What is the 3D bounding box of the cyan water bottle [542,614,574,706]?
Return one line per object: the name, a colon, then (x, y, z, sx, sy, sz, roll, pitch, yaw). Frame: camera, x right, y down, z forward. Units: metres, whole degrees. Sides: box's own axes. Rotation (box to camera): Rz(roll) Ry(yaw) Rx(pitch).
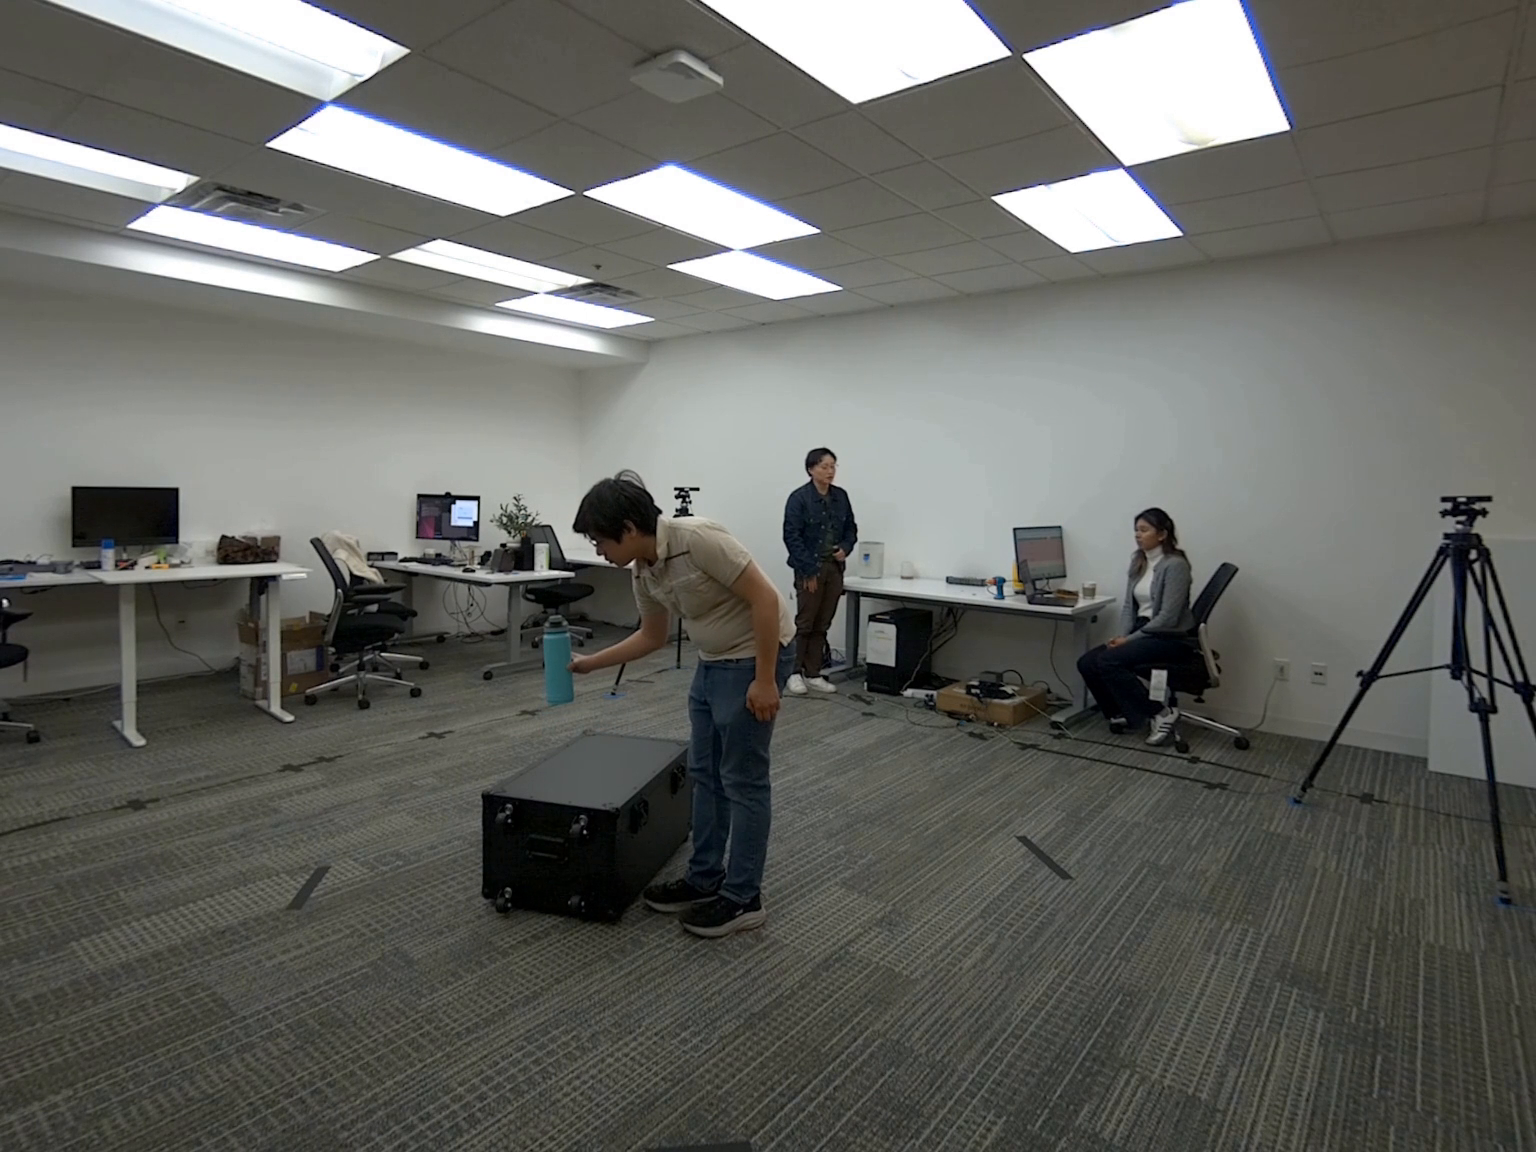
cyan water bottle: (-0.702, 0.273, 2.800, 0.092, 0.284, 0.092, -4, -3, -2)
